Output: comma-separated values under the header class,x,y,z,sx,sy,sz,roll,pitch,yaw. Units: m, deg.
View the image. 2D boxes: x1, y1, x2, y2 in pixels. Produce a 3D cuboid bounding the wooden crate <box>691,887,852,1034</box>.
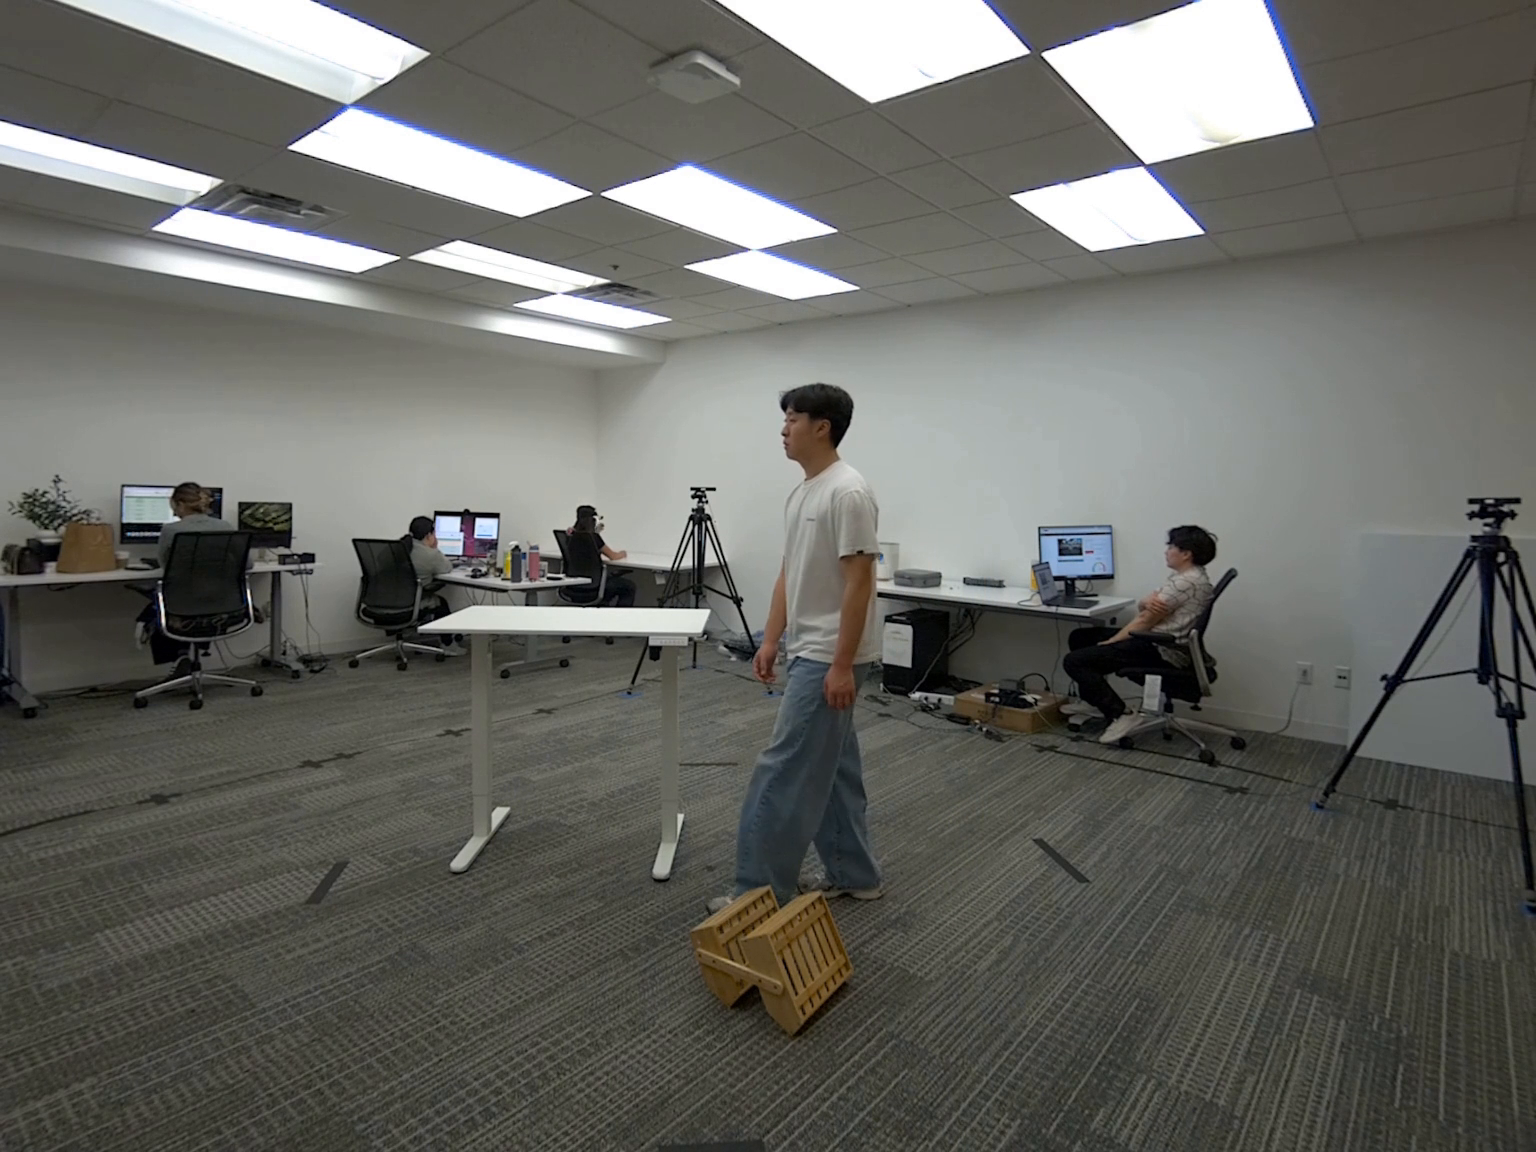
class,x,y,z,sx,sy,sz,roll,pitch,yaw
wooden crate,0.004,1.056,2.368,0.276,0.307,0.315,-29,-13,31
